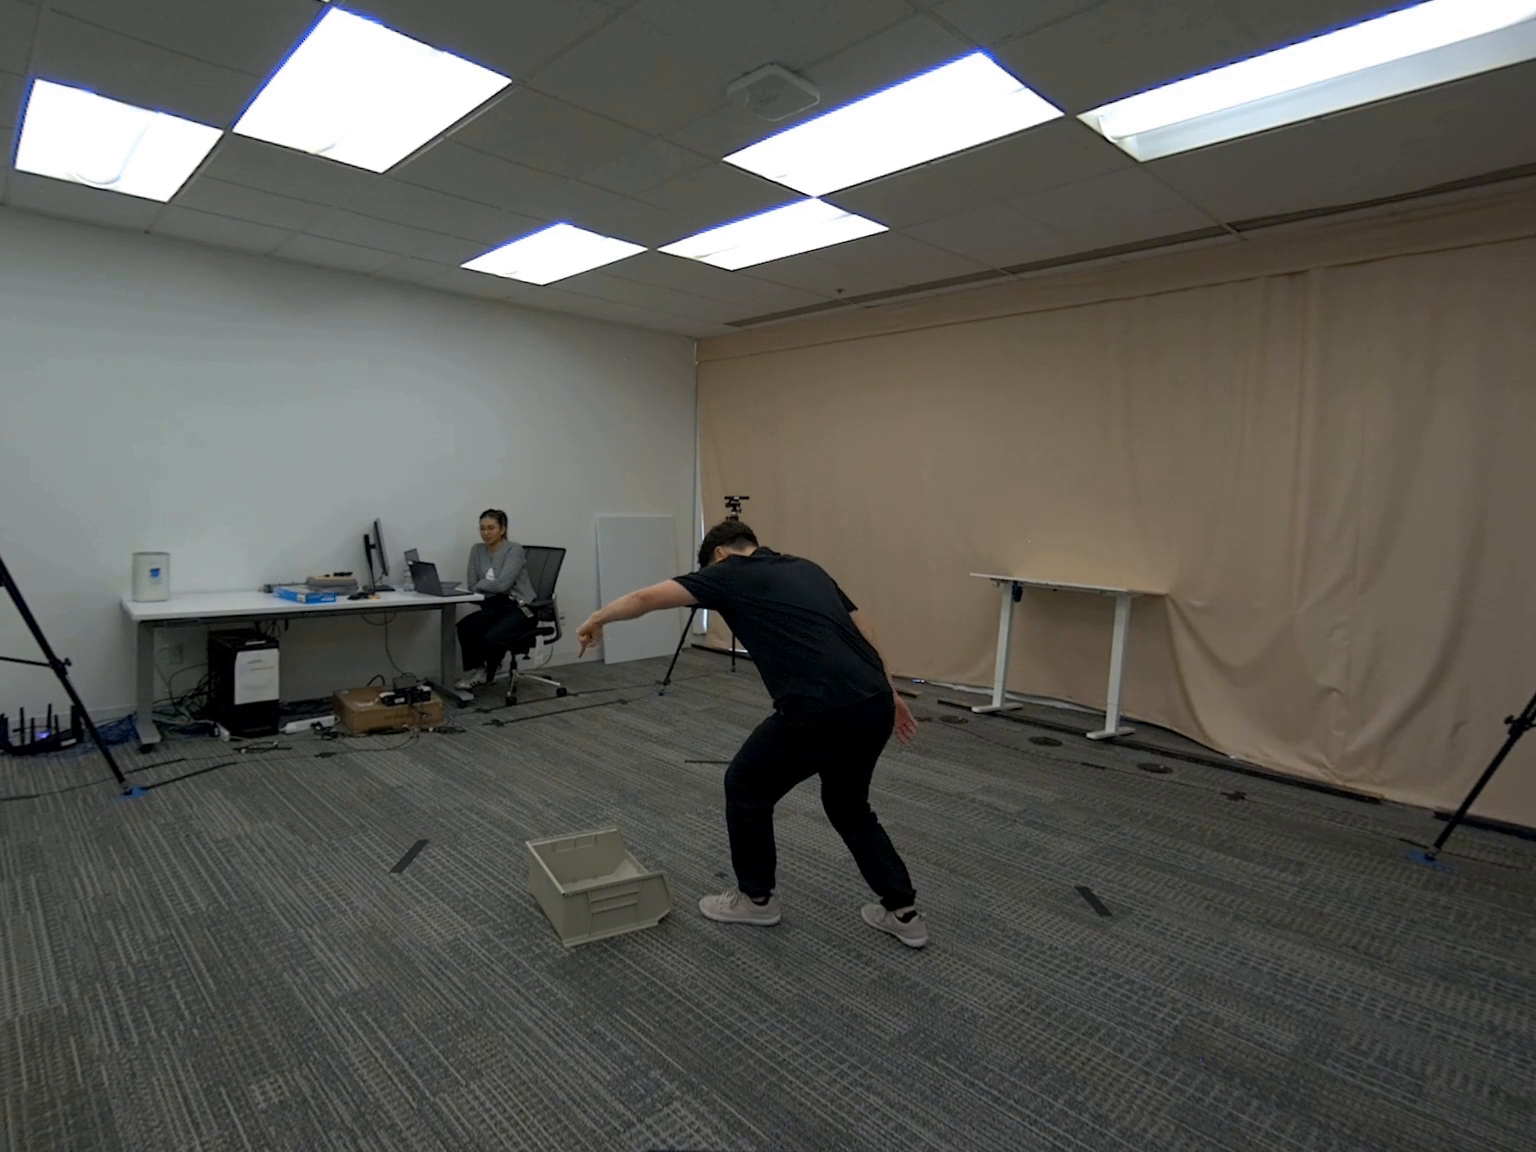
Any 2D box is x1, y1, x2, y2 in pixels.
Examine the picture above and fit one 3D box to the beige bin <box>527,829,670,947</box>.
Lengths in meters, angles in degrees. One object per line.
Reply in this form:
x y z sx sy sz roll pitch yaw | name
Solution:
-0.578 1.028 2.838 0.370 0.188 0.432 -2 7 -30 | beige bin
